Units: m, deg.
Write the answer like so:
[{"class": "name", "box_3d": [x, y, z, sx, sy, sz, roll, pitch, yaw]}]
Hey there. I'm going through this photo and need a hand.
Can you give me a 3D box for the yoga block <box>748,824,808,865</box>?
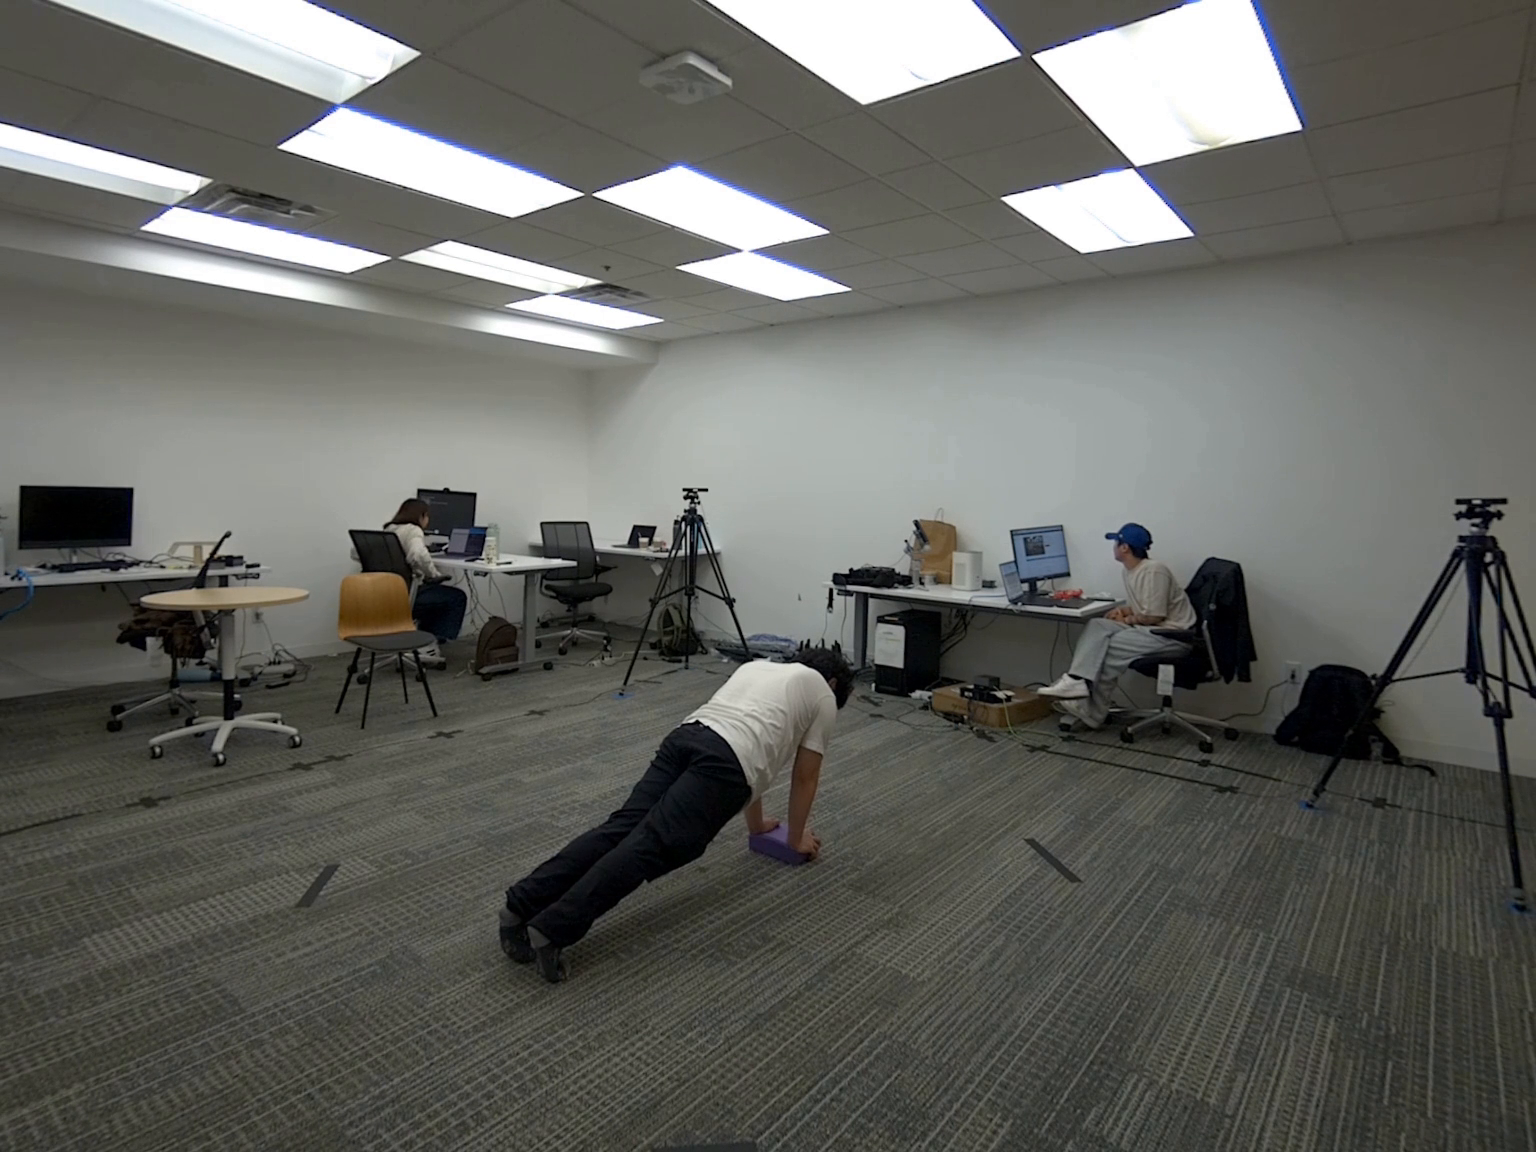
[{"class": "yoga block", "box_3d": [0.048, 1.026, 3.277, 0.237, 0.076, 0.145, 6, 7, 38]}]
